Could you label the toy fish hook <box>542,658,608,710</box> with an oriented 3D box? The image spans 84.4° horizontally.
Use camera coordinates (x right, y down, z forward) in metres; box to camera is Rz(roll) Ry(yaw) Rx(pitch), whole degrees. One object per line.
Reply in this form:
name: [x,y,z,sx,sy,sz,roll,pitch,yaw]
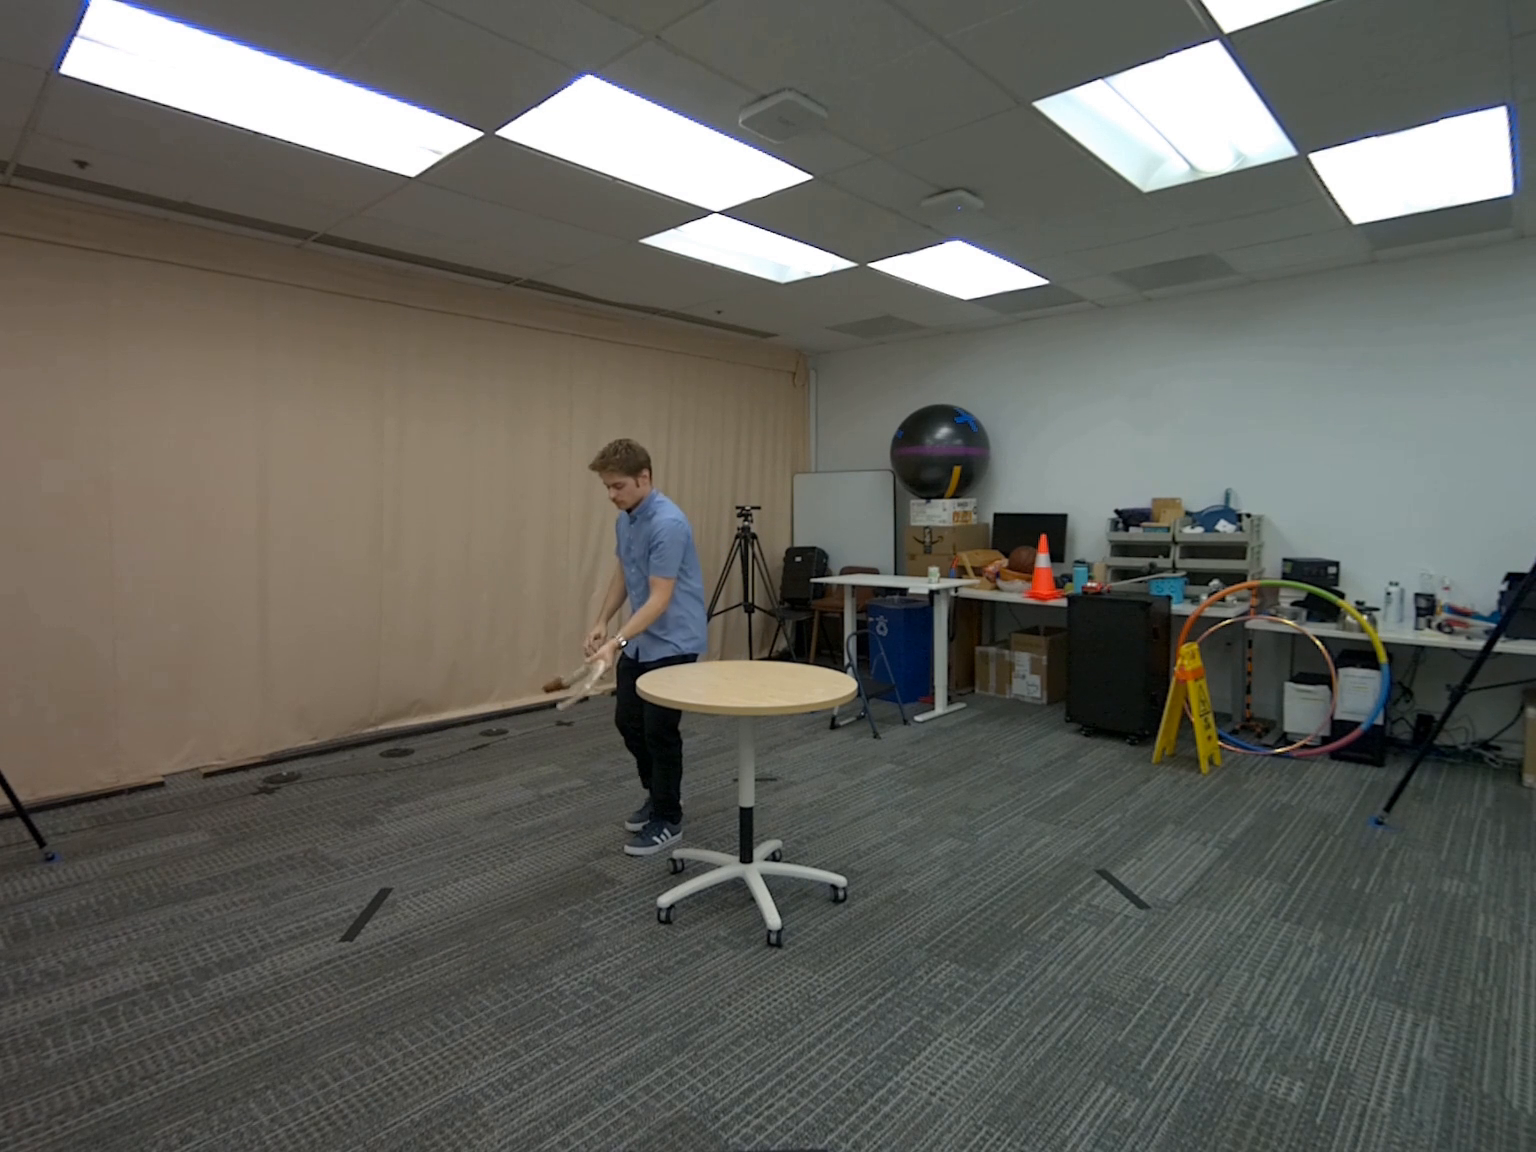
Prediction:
toy fish hook: [-0.759,0.422,3.168,0.517,0.048,0.222,-24,18,49]
